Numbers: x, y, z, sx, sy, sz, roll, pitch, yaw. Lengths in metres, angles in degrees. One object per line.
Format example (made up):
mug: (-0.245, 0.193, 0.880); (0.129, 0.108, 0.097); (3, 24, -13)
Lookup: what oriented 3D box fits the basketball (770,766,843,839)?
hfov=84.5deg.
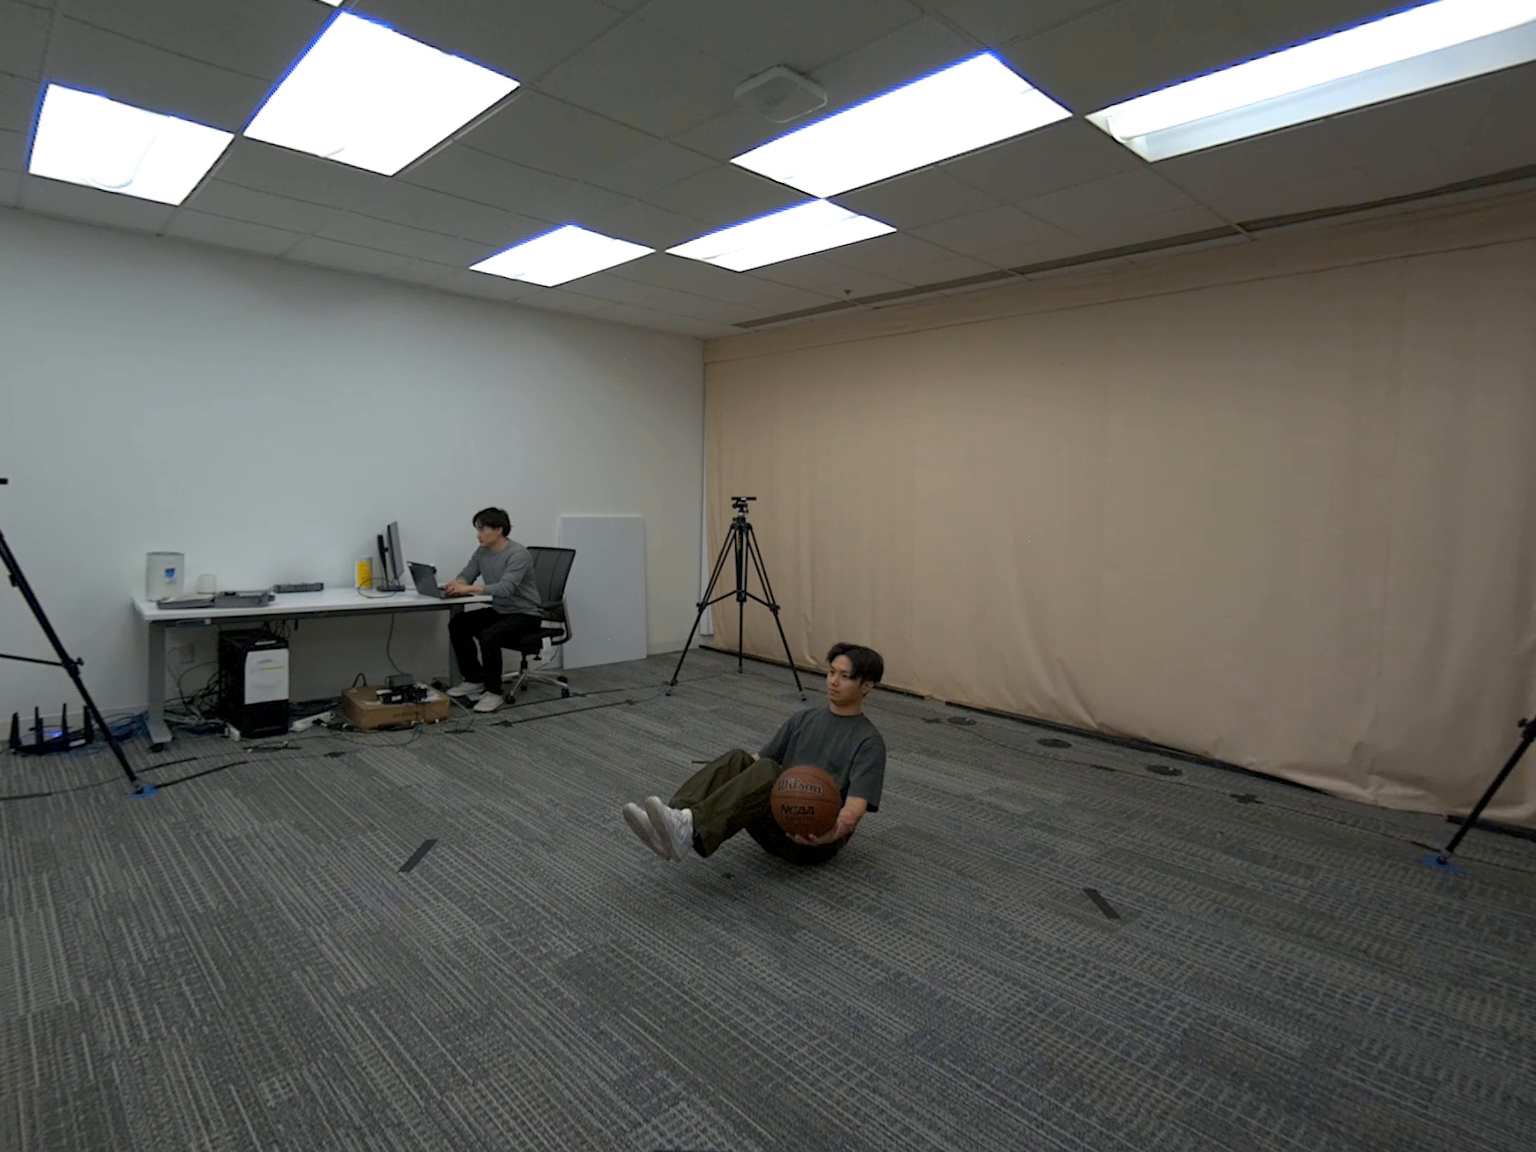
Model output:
basketball: (0.111, 0.761, 2.860); (0.236, 0.235, 0.237); (1, 4, -1)
